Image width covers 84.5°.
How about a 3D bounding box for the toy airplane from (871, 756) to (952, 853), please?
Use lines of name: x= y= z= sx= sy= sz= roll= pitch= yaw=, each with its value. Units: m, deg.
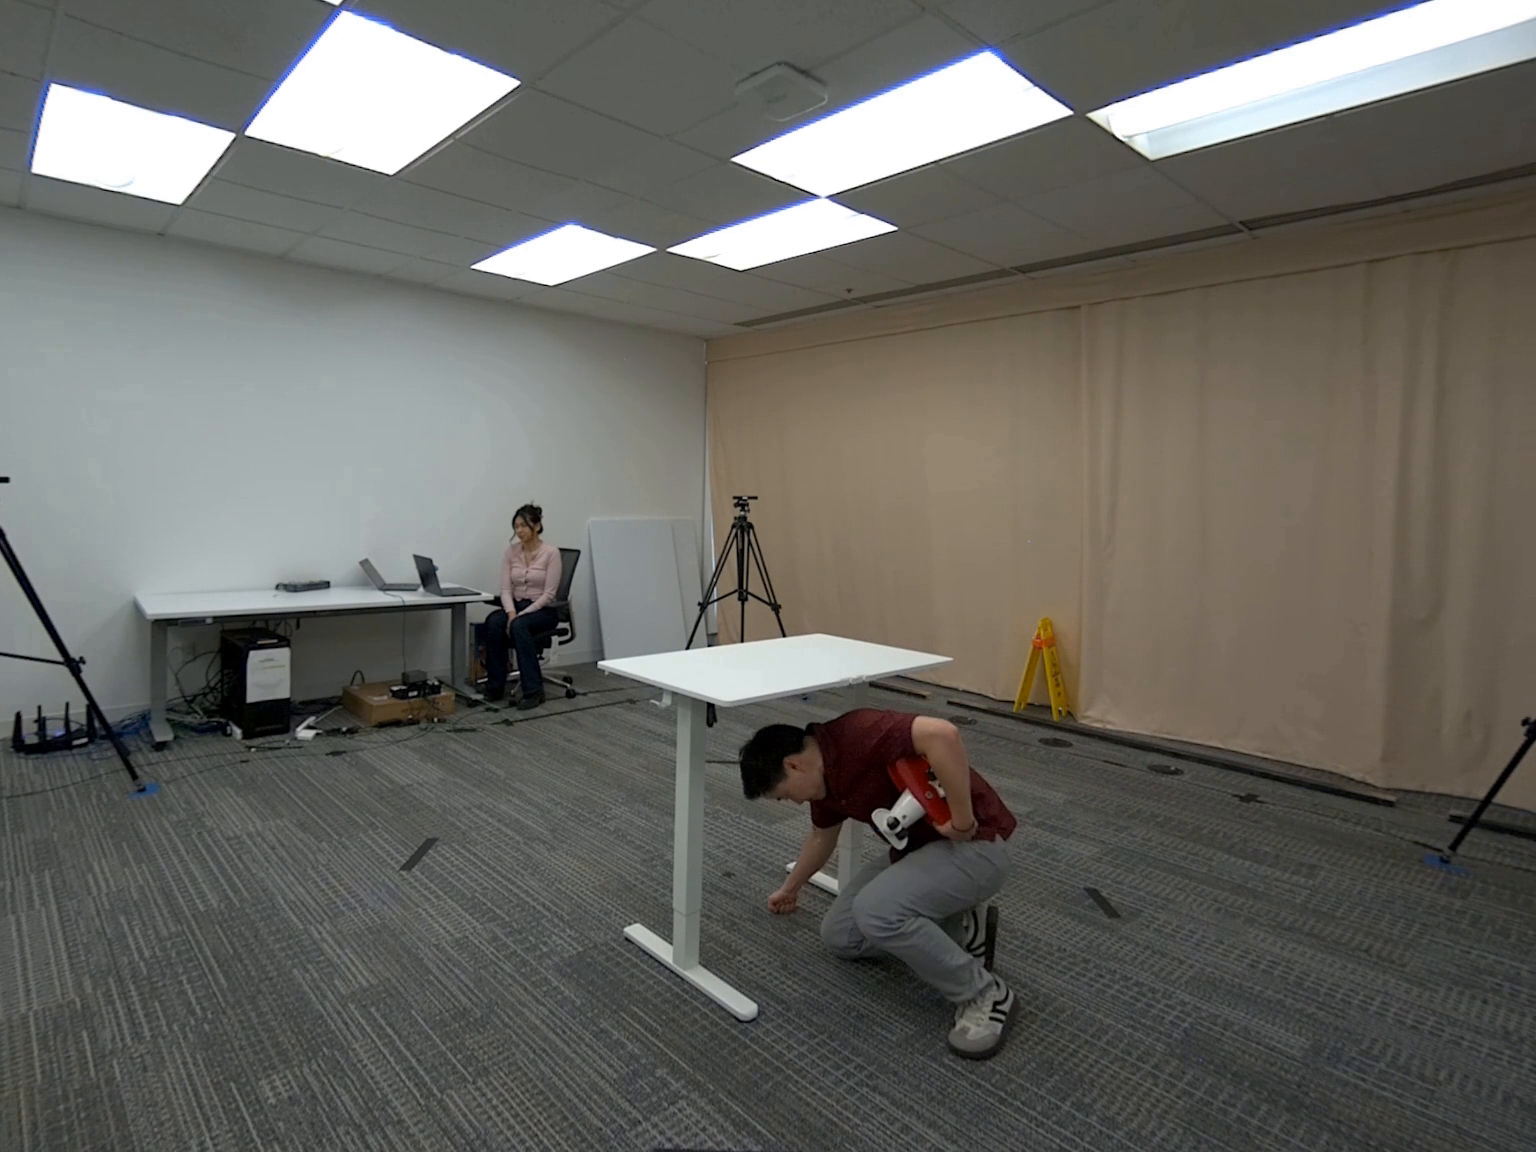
toy airplane: x=0.383 y=0.609 z=2.303 sx=0.259 sy=0.253 sz=0.155 roll=-13 pitch=-8 yaw=1
